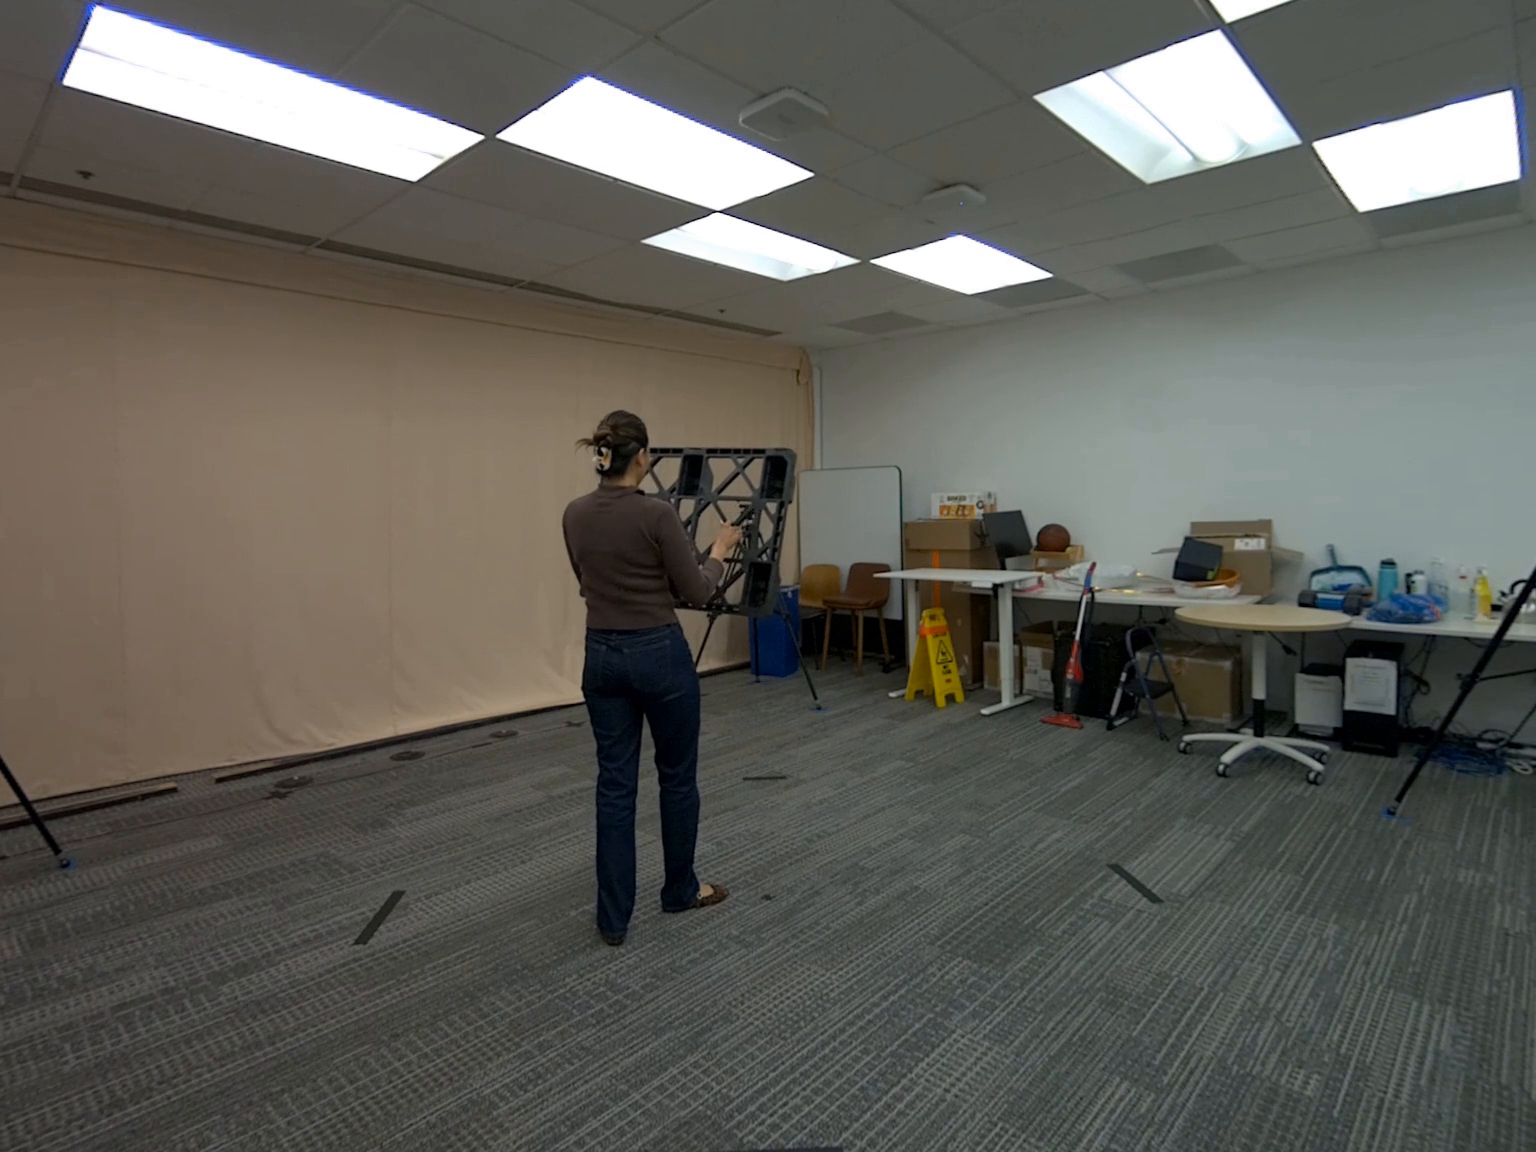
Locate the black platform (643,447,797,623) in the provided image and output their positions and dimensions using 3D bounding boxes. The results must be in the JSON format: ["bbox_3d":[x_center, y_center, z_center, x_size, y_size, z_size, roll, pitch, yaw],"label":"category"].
[{"bbox_3d":[-0.285,-0.173,3.113,0.828,0.608,0.139,4,-11,28],"label":"black platform"}]
